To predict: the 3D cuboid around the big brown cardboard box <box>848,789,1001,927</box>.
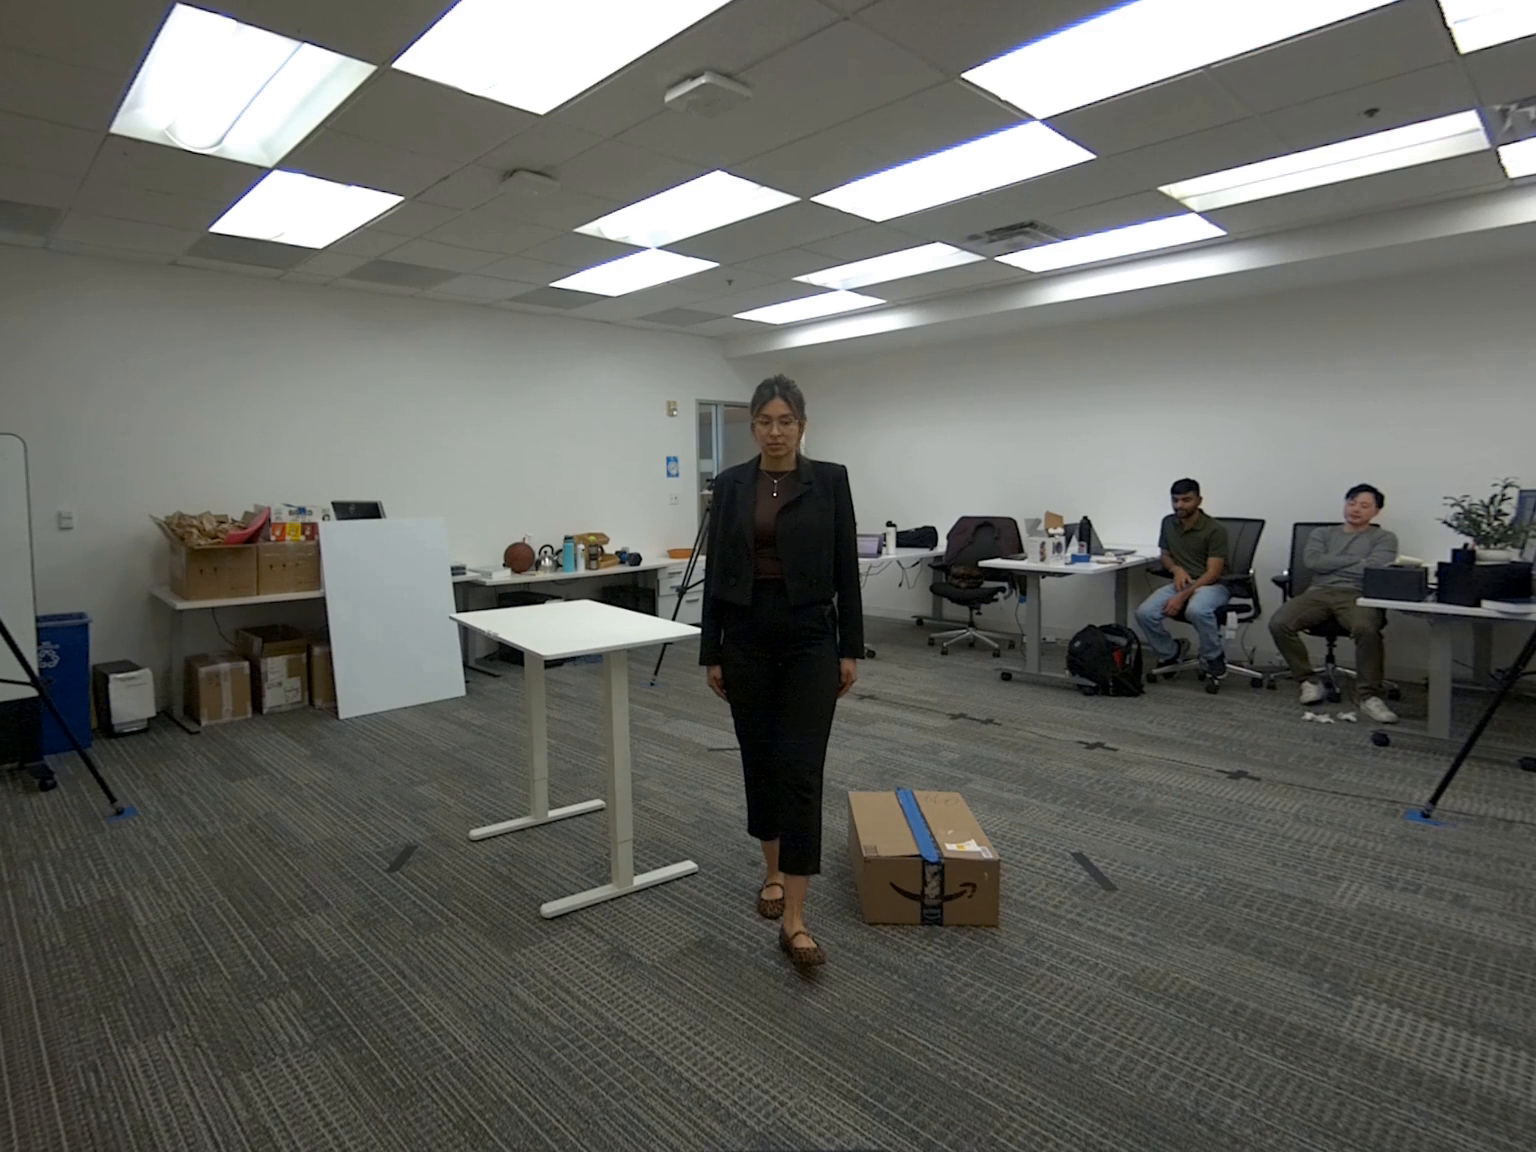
[{"bbox_3d":[0.510,0.942,2.921,0.418,0.232,0.590,-1,5,1],"label":"big brown cardboard box"}]
